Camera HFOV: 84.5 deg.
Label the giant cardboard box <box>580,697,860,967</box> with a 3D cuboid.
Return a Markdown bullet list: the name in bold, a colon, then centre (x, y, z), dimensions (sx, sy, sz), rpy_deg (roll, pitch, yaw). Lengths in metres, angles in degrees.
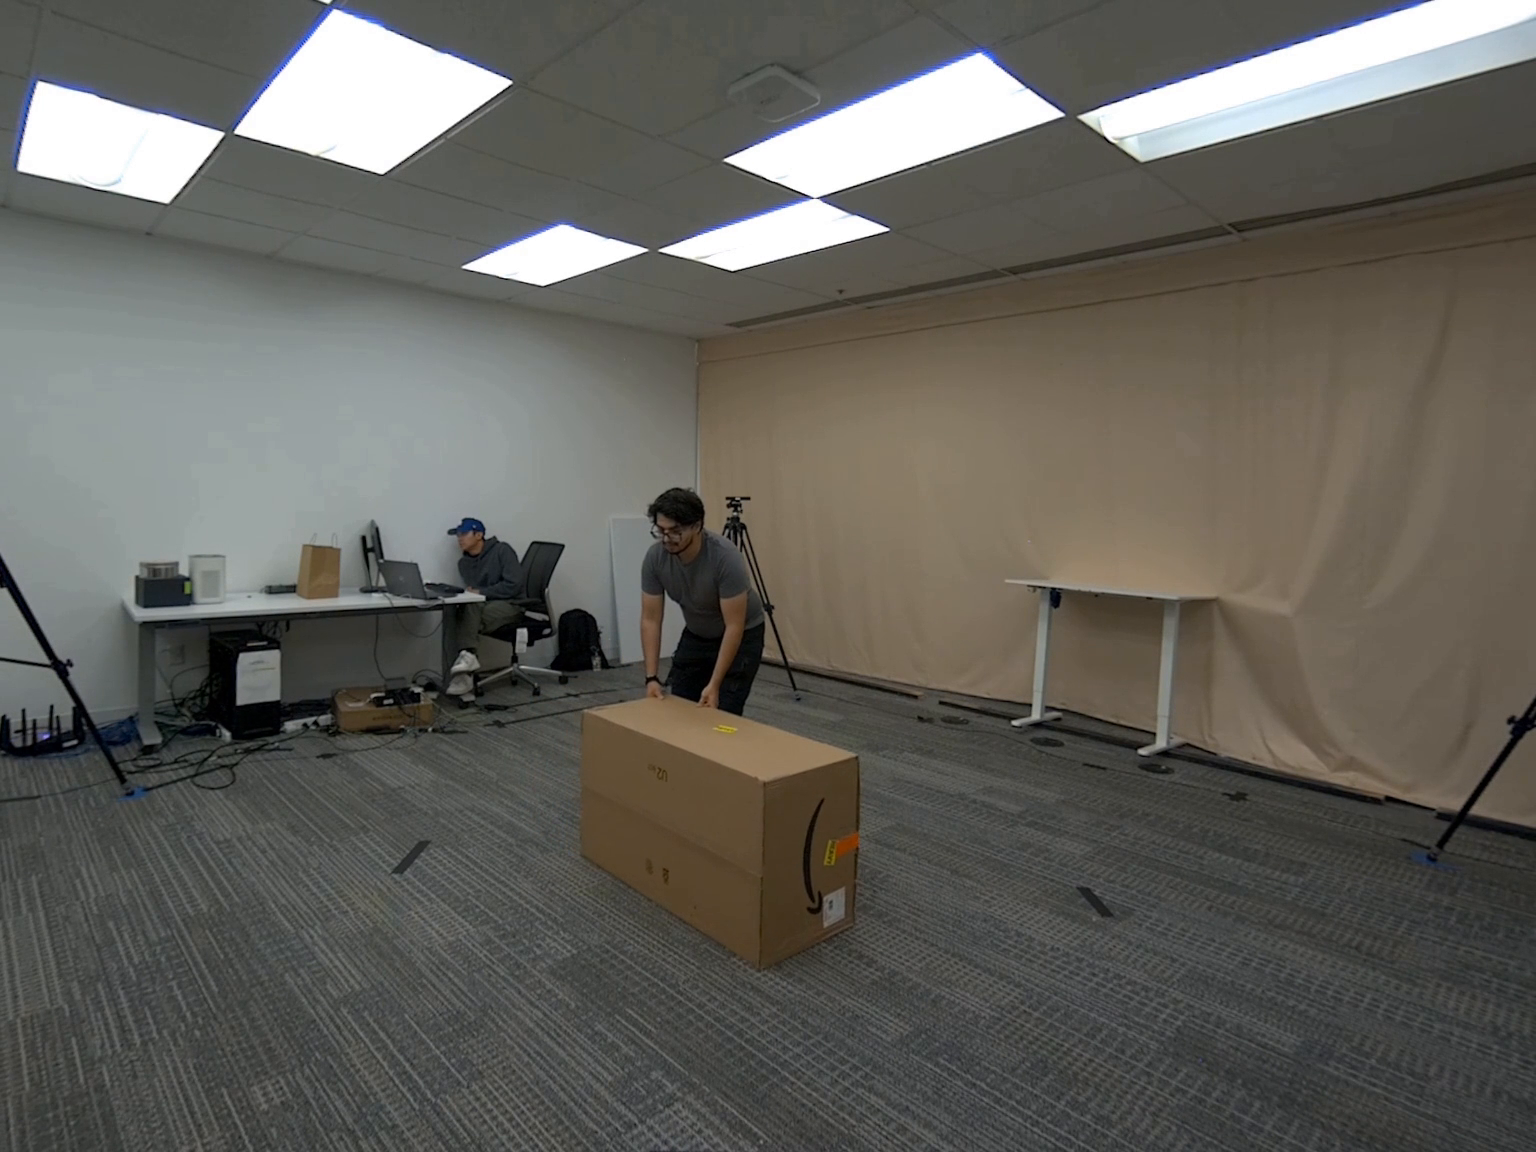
- **giant cardboard box**: centre (-0.219, 0.832, 2.984), dimensions (0.416, 0.576, 1.052), rpy_deg (-3, 6, -42)
